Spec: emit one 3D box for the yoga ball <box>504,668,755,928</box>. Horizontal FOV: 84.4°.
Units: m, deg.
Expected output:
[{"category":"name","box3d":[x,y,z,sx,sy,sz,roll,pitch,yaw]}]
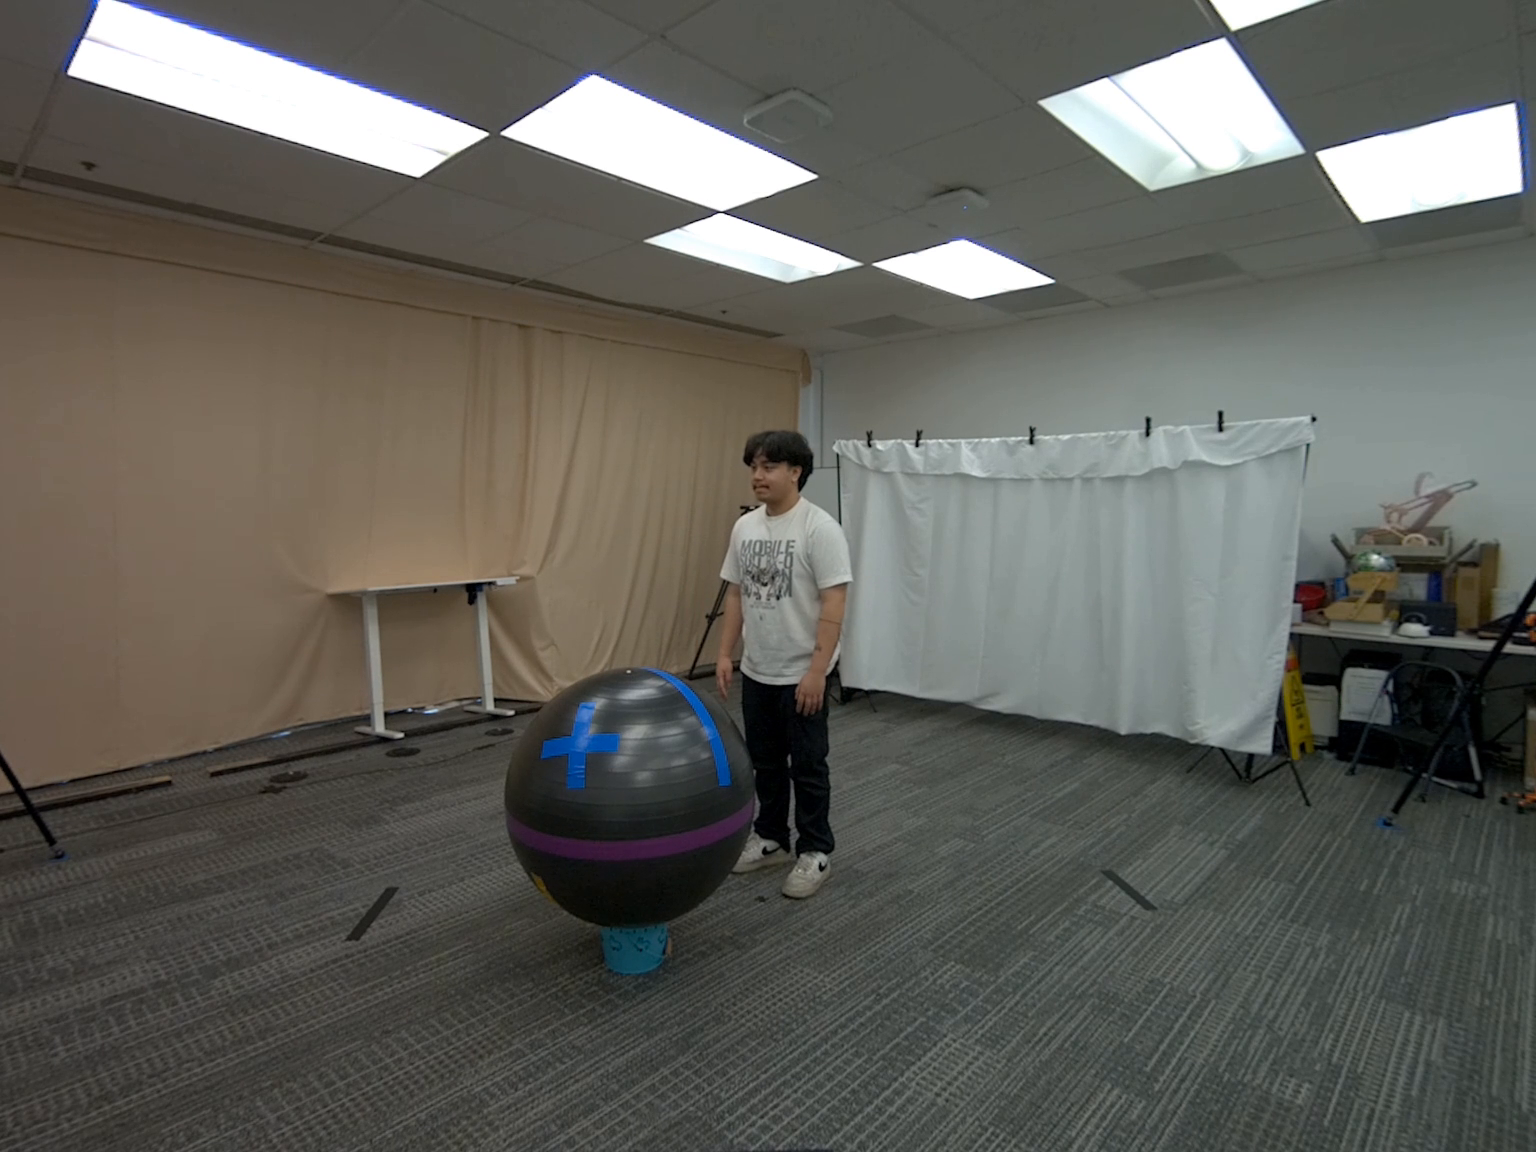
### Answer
[{"category":"yoga ball","box3d":[-0.417,0.668,2.578,0.757,0.756,0.760,0,4,-2]}]
